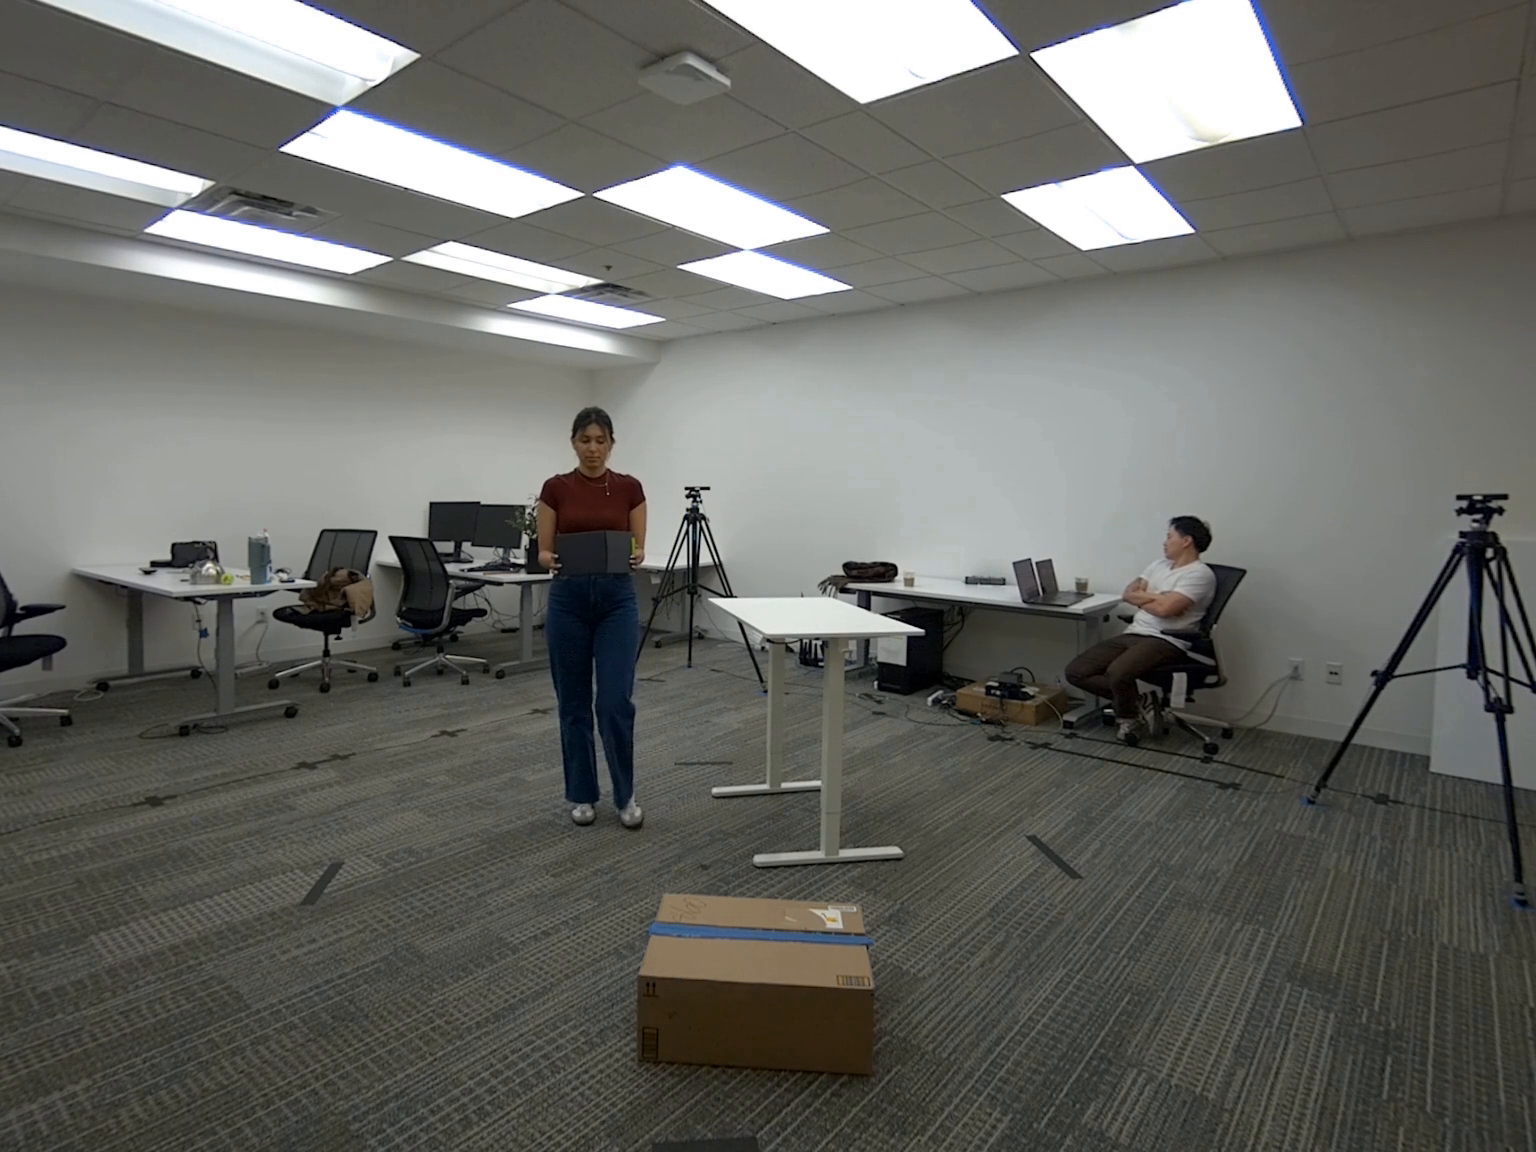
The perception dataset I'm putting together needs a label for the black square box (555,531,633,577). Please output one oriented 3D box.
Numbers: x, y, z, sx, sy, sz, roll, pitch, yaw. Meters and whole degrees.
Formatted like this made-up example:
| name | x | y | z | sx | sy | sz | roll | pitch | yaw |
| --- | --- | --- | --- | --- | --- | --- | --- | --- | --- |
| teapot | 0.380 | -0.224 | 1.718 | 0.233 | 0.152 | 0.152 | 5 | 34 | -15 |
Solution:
| name | x | y | z | sx | sy | sz | roll | pitch | yaw |
| --- | --- | --- | --- | --- | --- | --- | --- | --- | --- |
| black square box | -0.661 | -0.088 | 3.219 | 0.233 | 0.156 | 0.212 | -4 | -1 | 23 |
